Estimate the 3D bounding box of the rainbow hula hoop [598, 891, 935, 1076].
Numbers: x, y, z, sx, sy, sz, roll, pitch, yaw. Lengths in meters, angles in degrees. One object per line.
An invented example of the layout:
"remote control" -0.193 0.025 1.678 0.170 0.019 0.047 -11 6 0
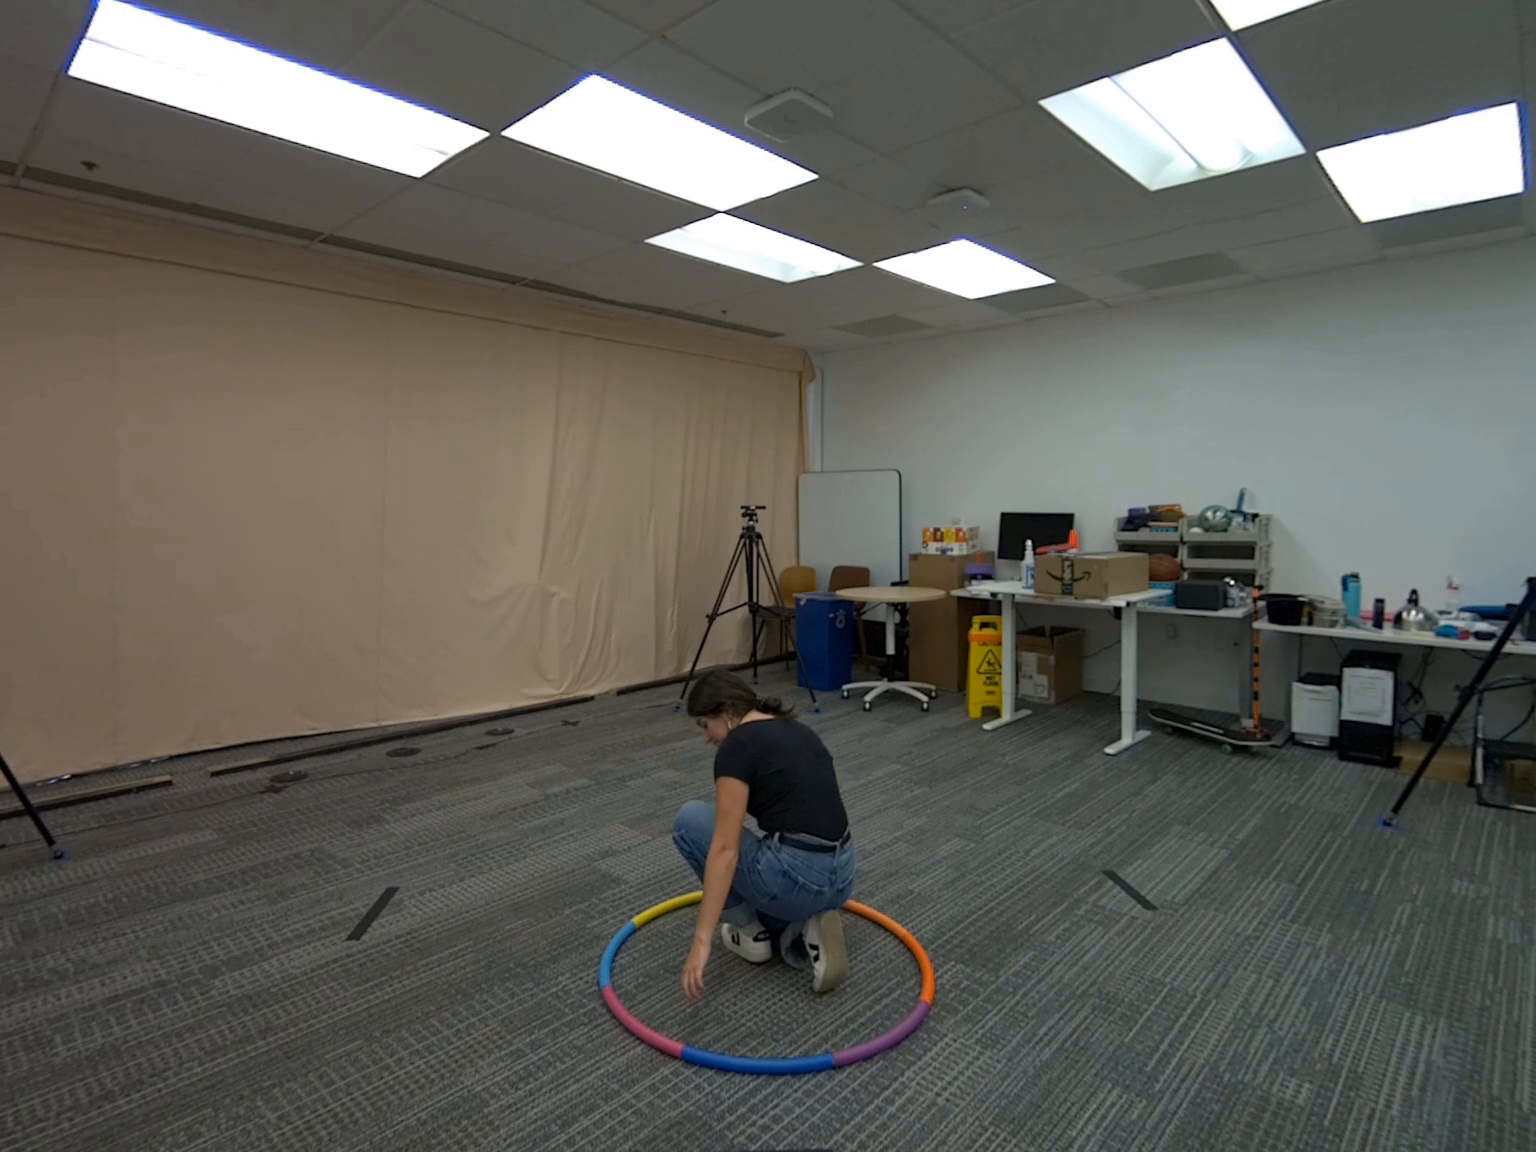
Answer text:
"rainbow hula hoop" 0.000 1.151 2.538 0.978 0.035 0.982 -1 5 -2
